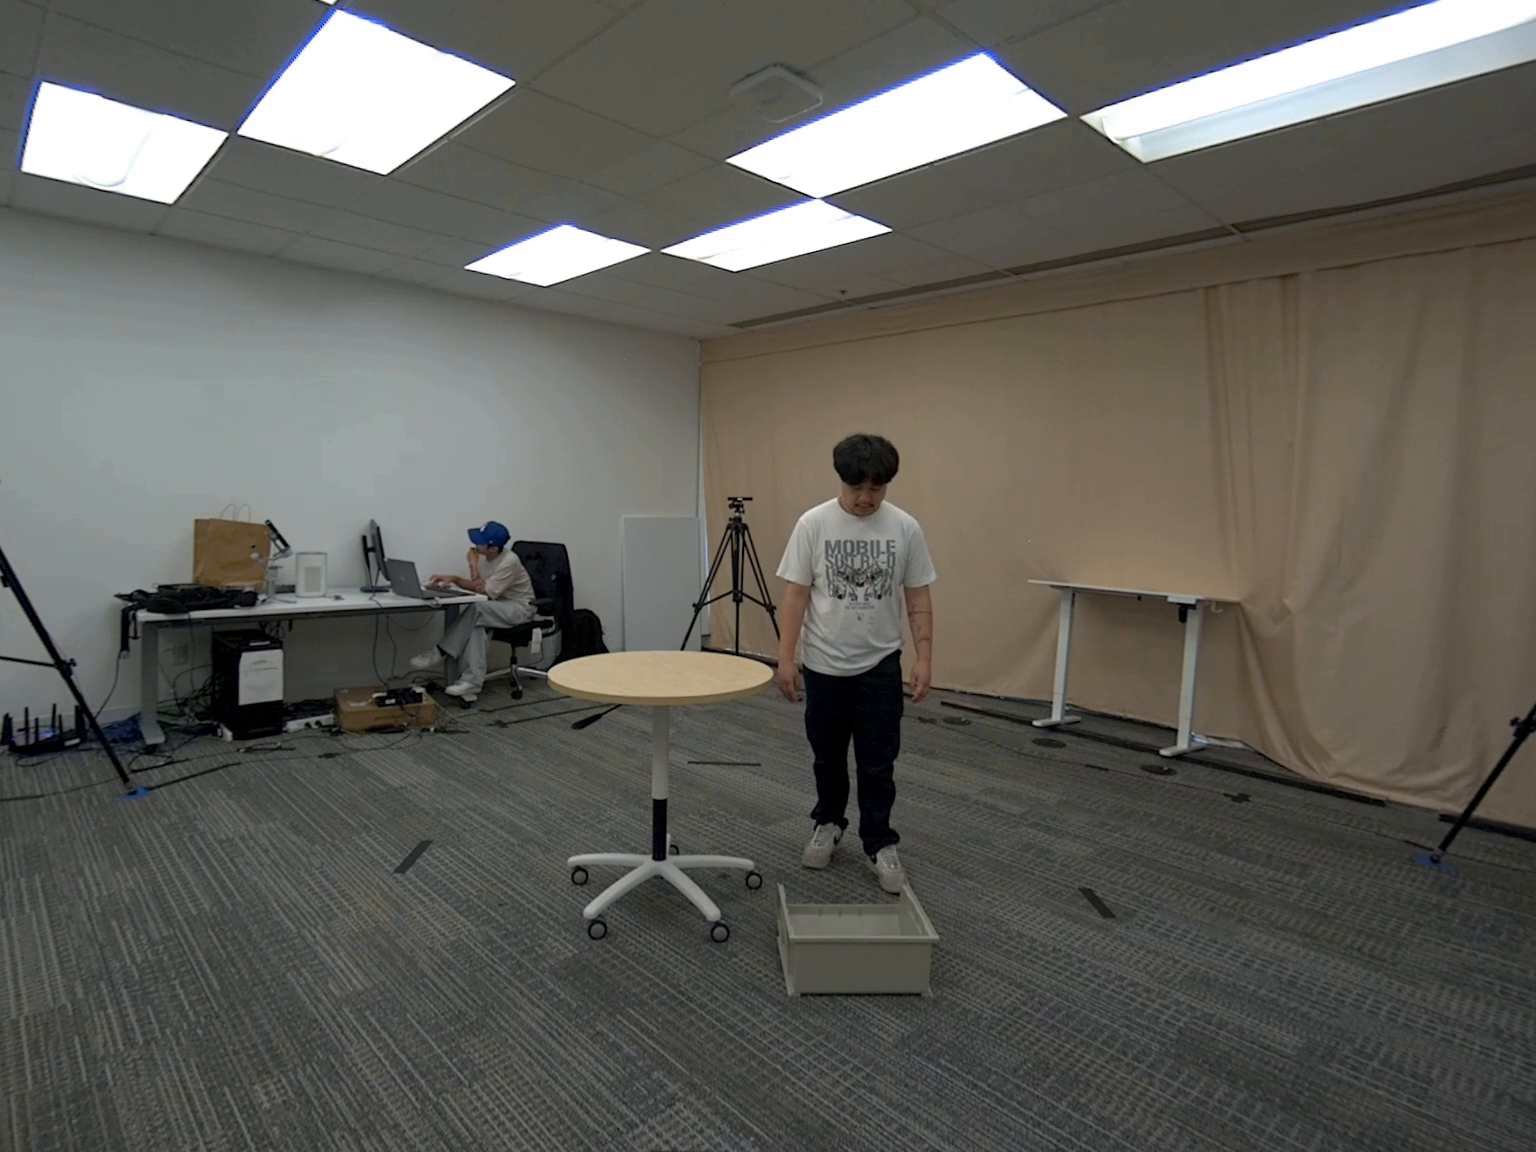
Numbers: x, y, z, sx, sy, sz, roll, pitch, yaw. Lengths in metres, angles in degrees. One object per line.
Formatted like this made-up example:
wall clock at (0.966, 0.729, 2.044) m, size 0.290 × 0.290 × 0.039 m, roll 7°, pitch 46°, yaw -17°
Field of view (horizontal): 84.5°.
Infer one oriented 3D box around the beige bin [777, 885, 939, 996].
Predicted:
beige bin at (0.242, 1.086, 2.531) m, size 0.421 × 0.188 × 0.380 m, roll 2°, pitch 6°, yaw -5°
